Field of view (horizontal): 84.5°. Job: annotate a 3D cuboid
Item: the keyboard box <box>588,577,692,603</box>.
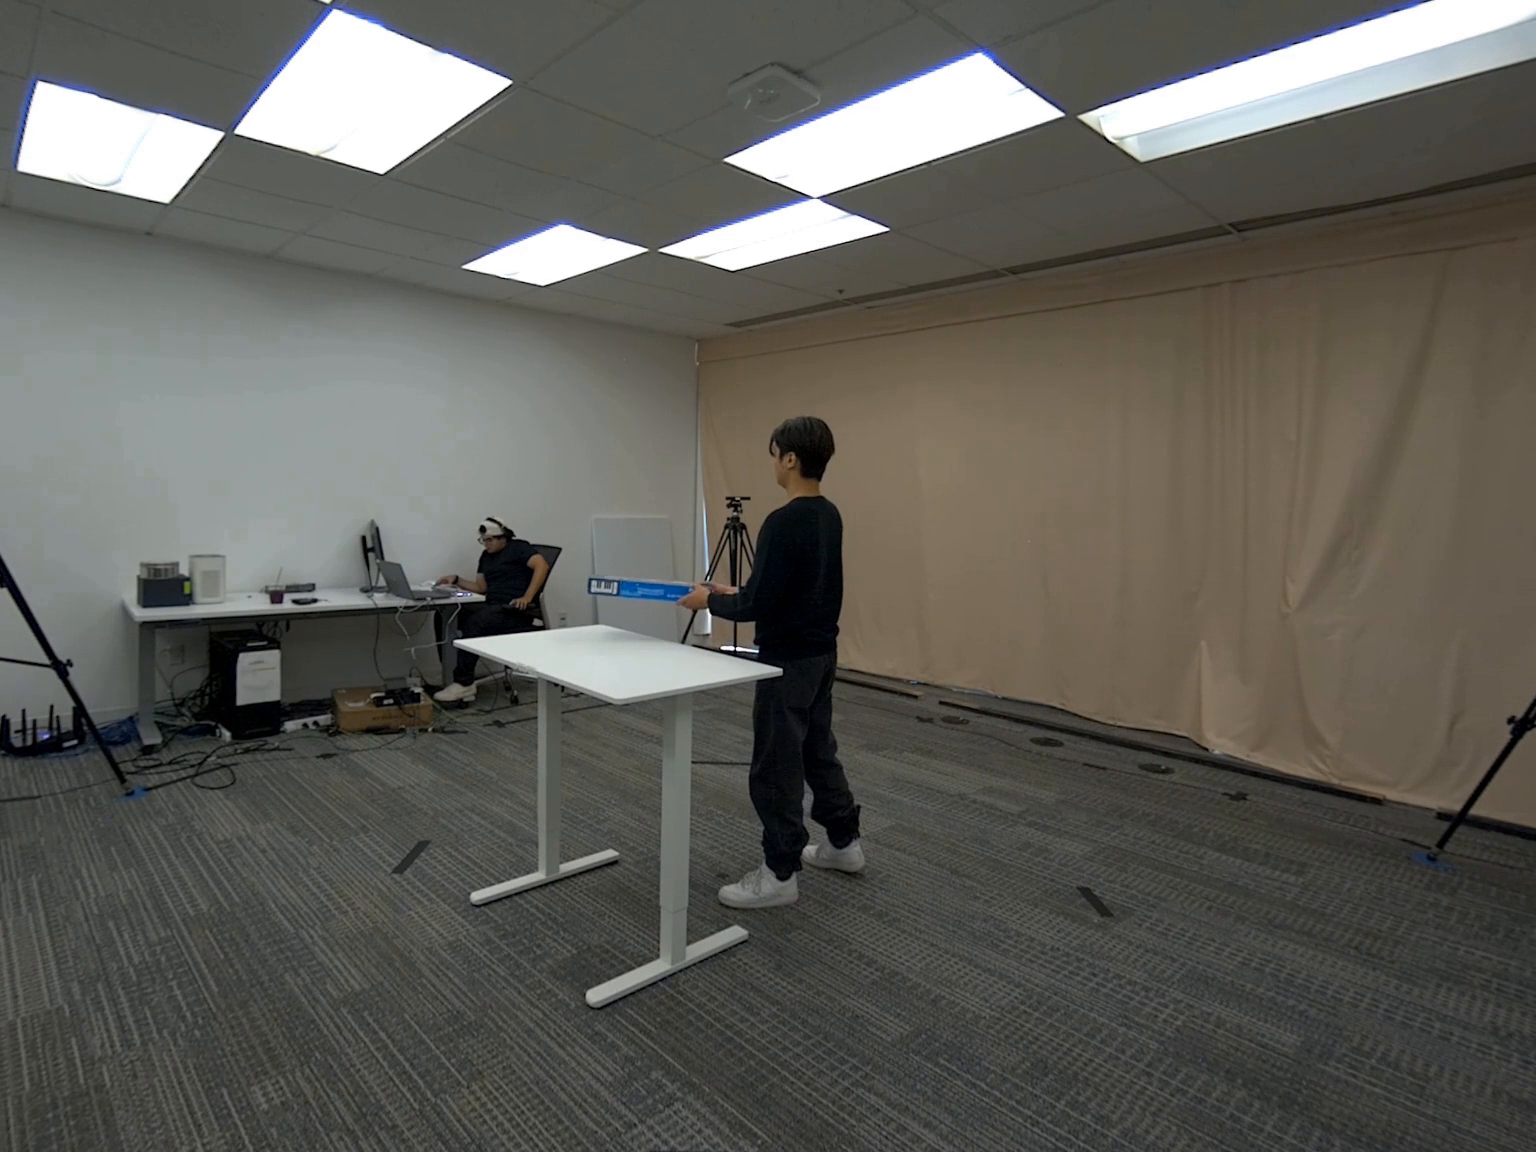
[{"bbox_3d":[-0.427,0.046,3.048,0.435,0.059,0.177,5,2,-5],"label":"keyboard box"}]
